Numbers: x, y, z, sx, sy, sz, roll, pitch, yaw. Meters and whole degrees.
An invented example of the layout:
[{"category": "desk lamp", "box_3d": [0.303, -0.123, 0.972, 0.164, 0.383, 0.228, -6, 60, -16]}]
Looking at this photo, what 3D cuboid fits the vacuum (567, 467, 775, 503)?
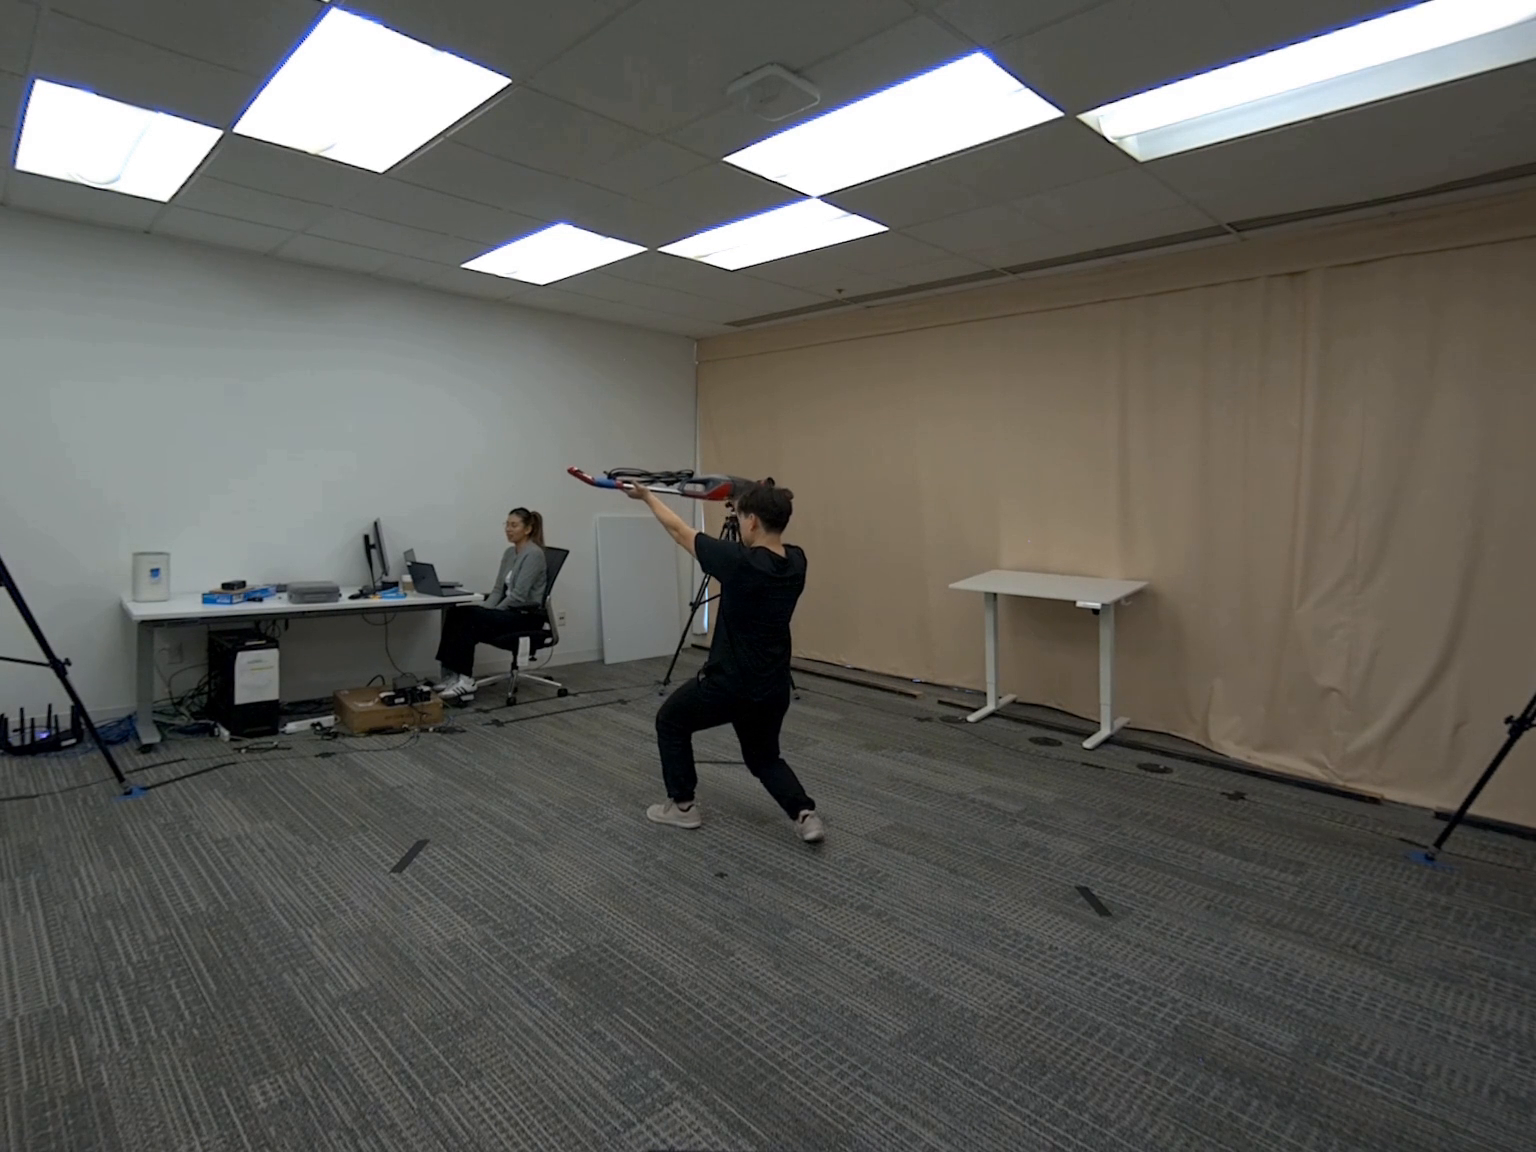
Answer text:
[{"category": "vacuum", "box_3d": [-0.395, -0.403, 3.662, 1.023, 0.146, 0.255, 4, -20, -40]}]
